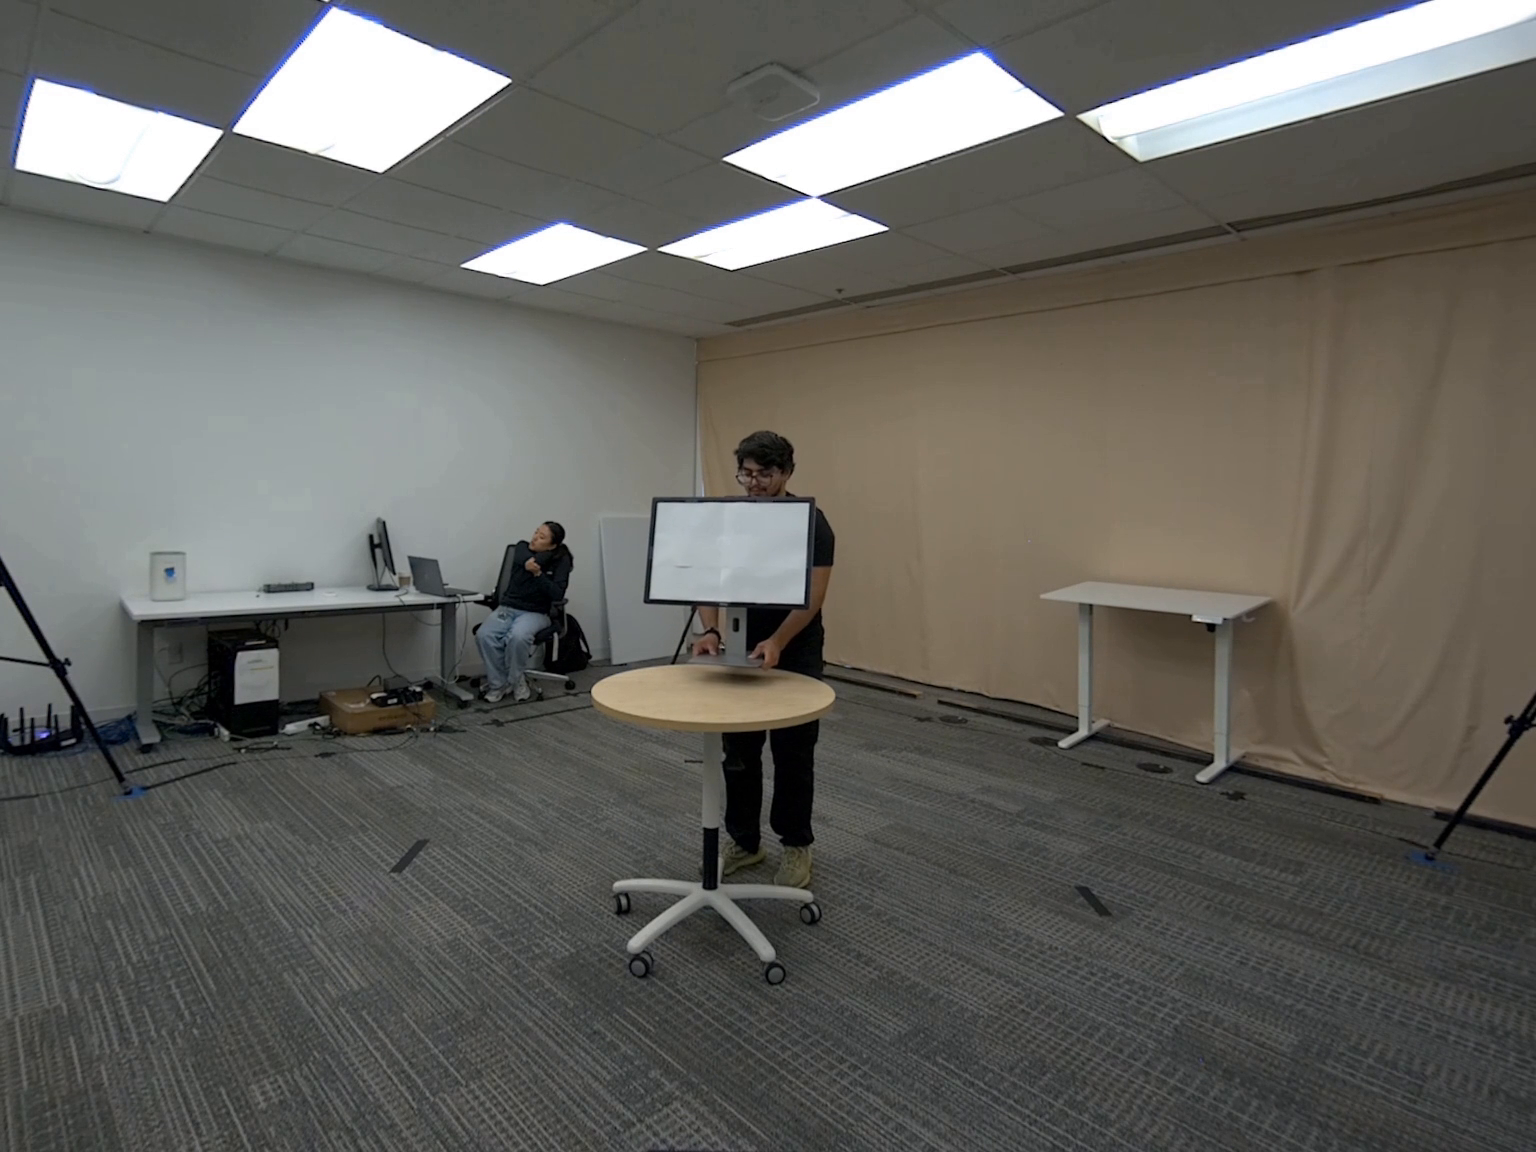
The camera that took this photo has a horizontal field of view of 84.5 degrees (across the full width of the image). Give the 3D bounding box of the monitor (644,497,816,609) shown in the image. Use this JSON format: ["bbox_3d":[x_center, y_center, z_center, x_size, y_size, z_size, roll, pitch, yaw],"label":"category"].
[{"bbox_3d":[-0.120,0.014,2.812,0.572,0.555,0.207,1,-3,16],"label":"monitor"}]
